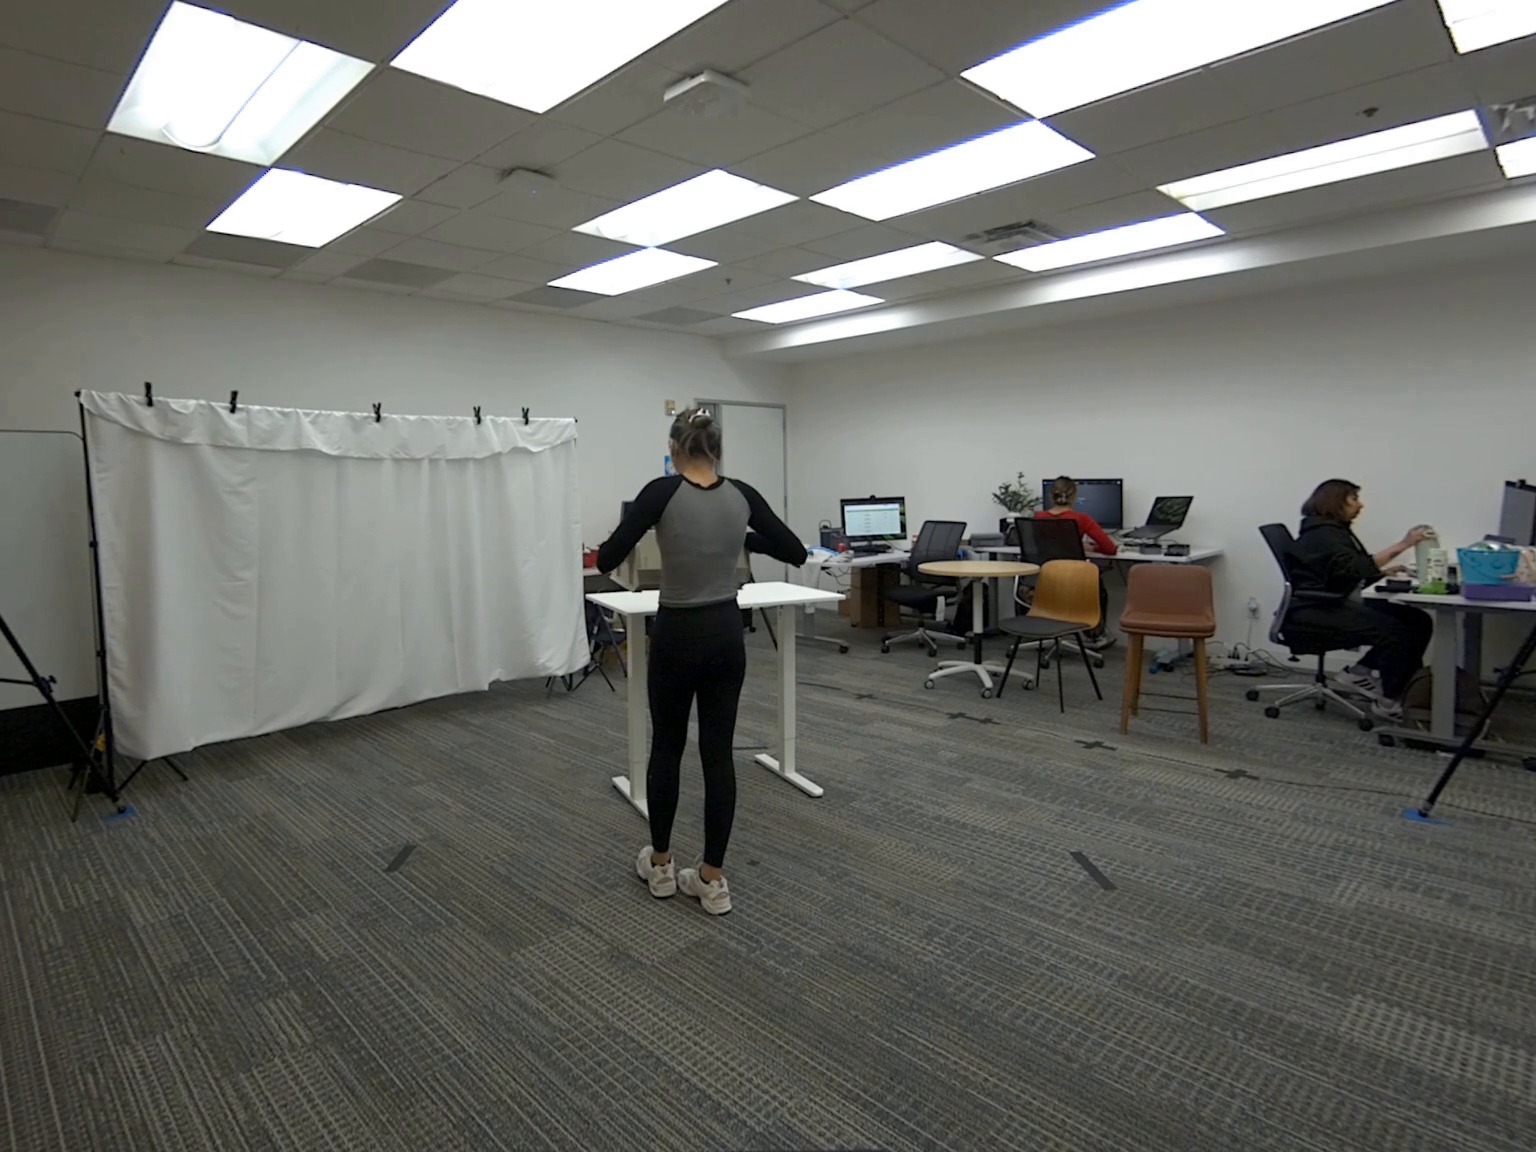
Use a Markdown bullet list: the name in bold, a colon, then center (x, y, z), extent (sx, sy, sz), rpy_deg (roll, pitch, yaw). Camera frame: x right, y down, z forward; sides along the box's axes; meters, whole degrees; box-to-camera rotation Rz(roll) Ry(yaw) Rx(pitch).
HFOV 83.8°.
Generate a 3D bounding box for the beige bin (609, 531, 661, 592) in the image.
- **beige bin**: center (-0.332, -0.053, 3.113), extent (0.413, 0.188, 0.387), rpy_deg (0, 7, -23)
